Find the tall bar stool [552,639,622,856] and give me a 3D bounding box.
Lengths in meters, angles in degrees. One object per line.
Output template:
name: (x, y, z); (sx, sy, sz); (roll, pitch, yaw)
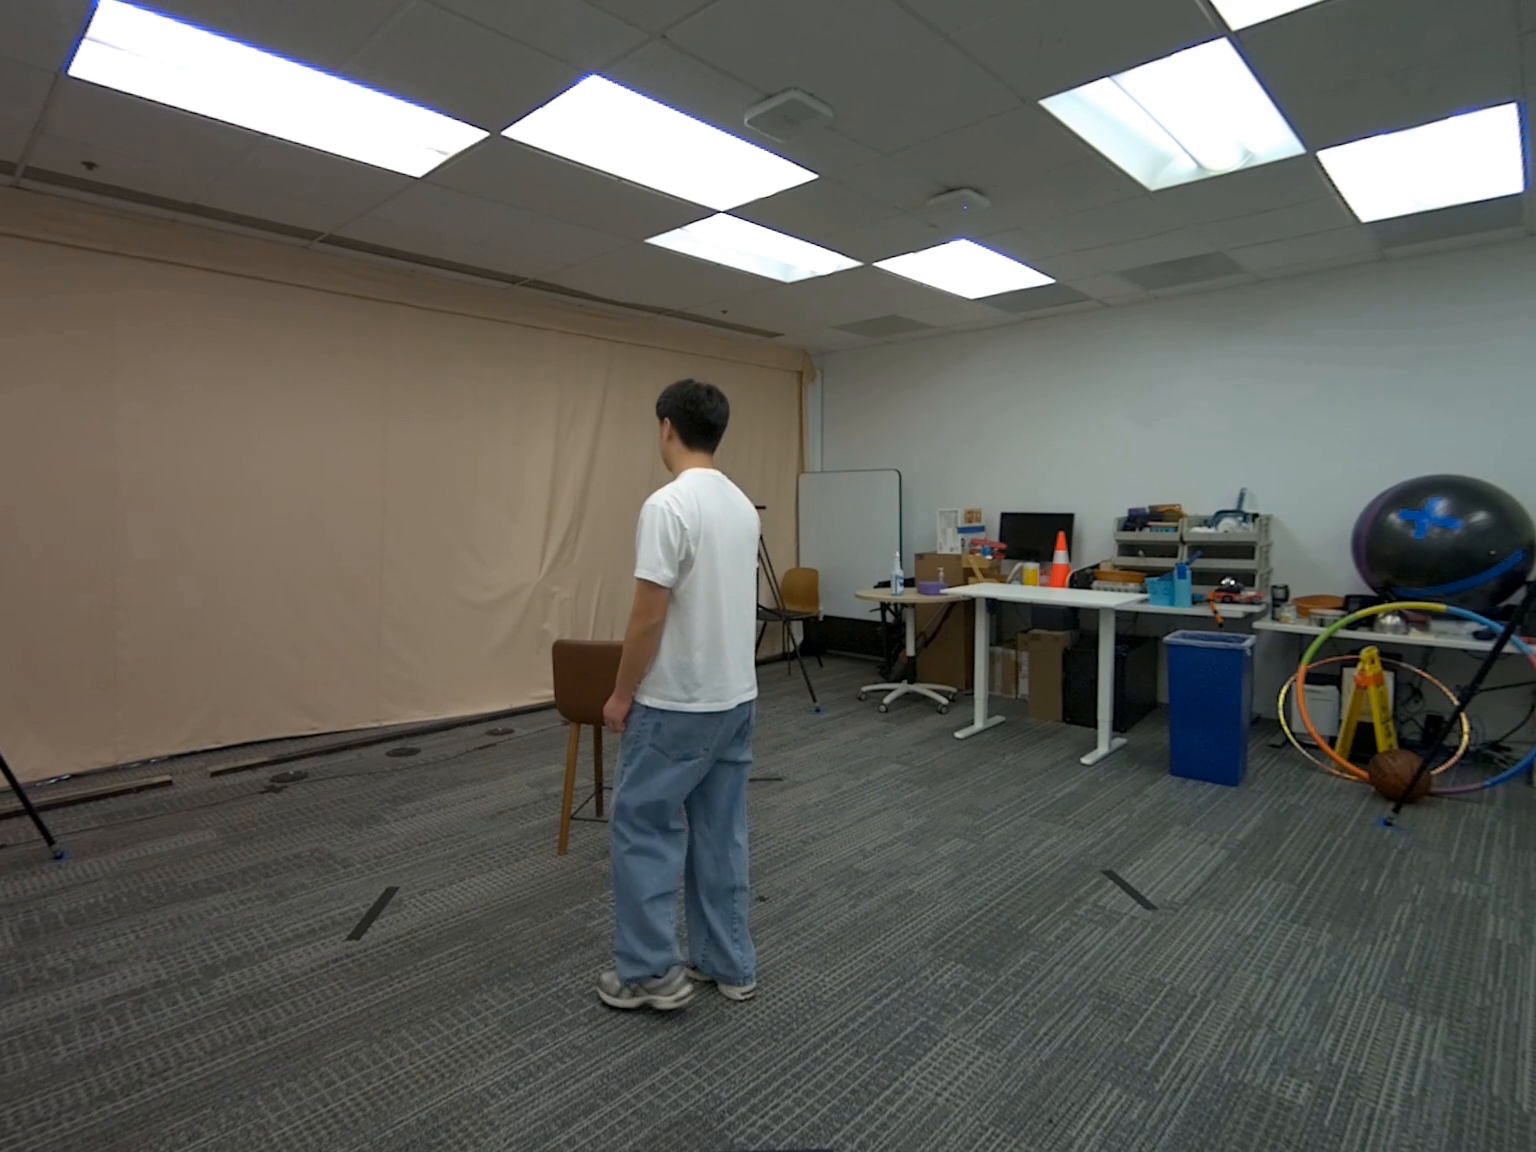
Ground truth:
tall bar stool: (-0.631, 0.669, 3.513); (0.464, 0.887, 0.462); (0, 5, 14)
